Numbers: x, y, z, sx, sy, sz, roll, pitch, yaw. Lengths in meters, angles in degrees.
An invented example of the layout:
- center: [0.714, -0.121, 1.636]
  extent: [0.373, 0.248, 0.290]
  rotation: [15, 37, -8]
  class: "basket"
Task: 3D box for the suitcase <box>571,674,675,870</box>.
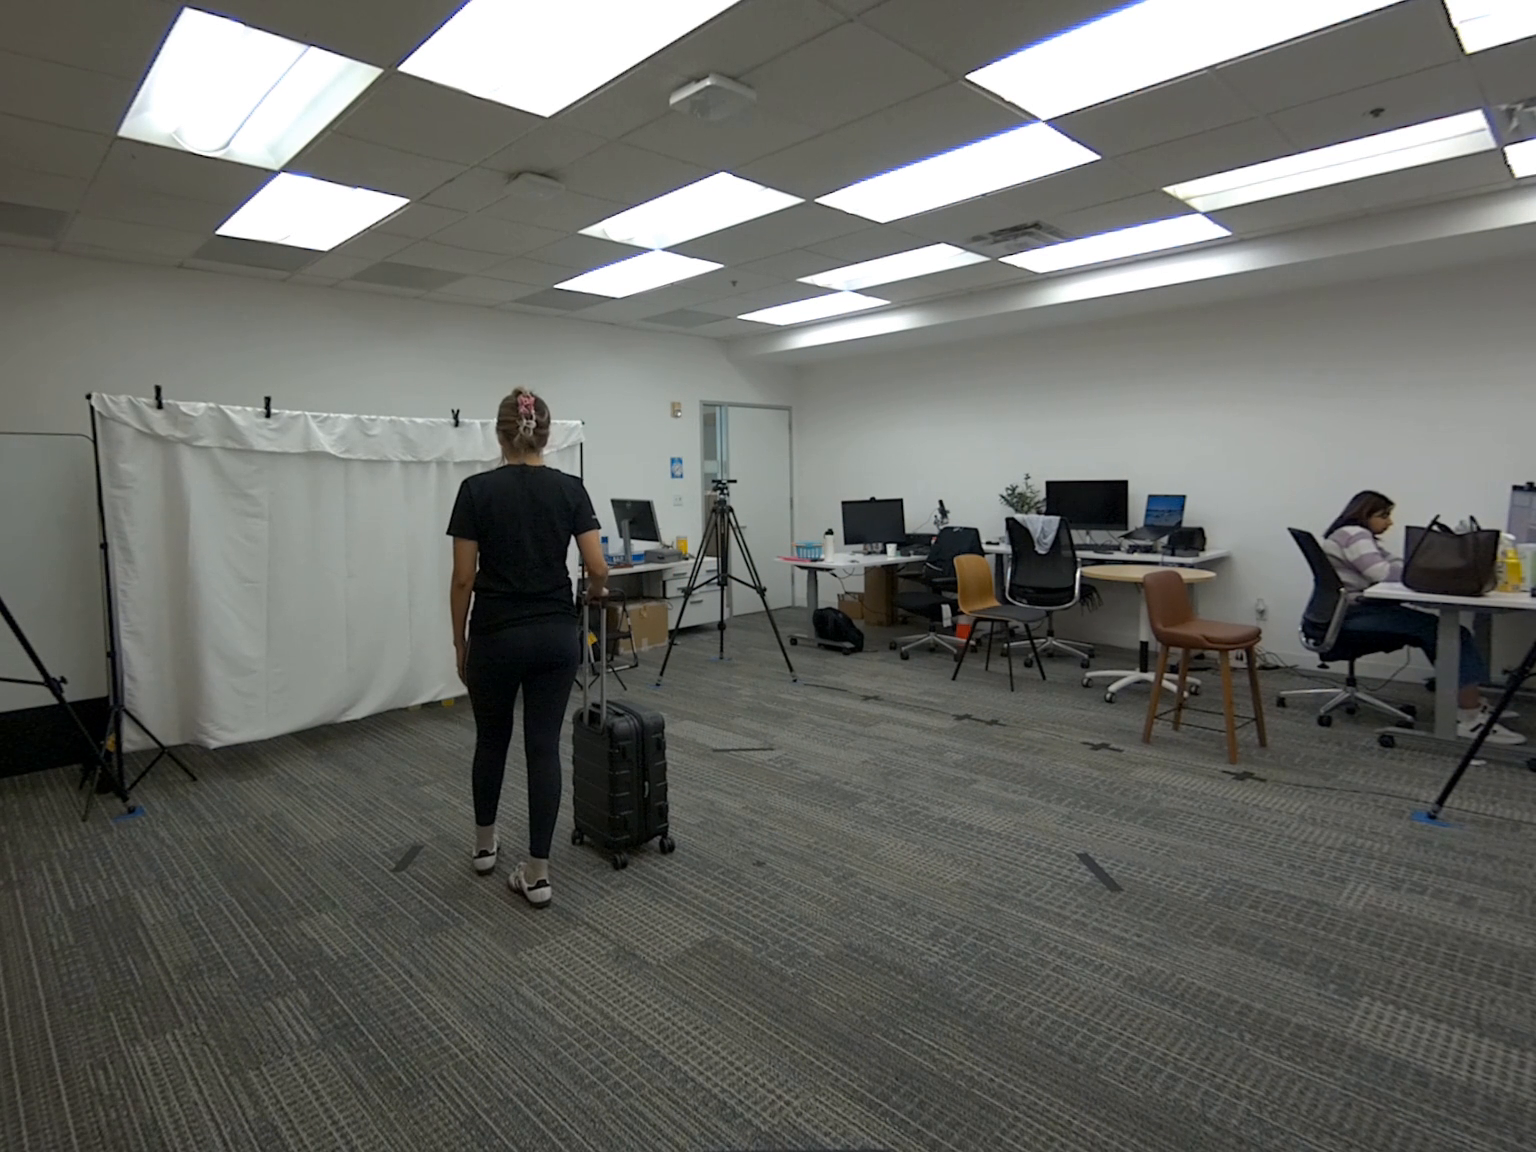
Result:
- center: [-0.569, 0.563, 3.277]
  extent: [0.250, 0.978, 0.395]
  rotation: [-1, 1, -37]
  class: "suitcase"
